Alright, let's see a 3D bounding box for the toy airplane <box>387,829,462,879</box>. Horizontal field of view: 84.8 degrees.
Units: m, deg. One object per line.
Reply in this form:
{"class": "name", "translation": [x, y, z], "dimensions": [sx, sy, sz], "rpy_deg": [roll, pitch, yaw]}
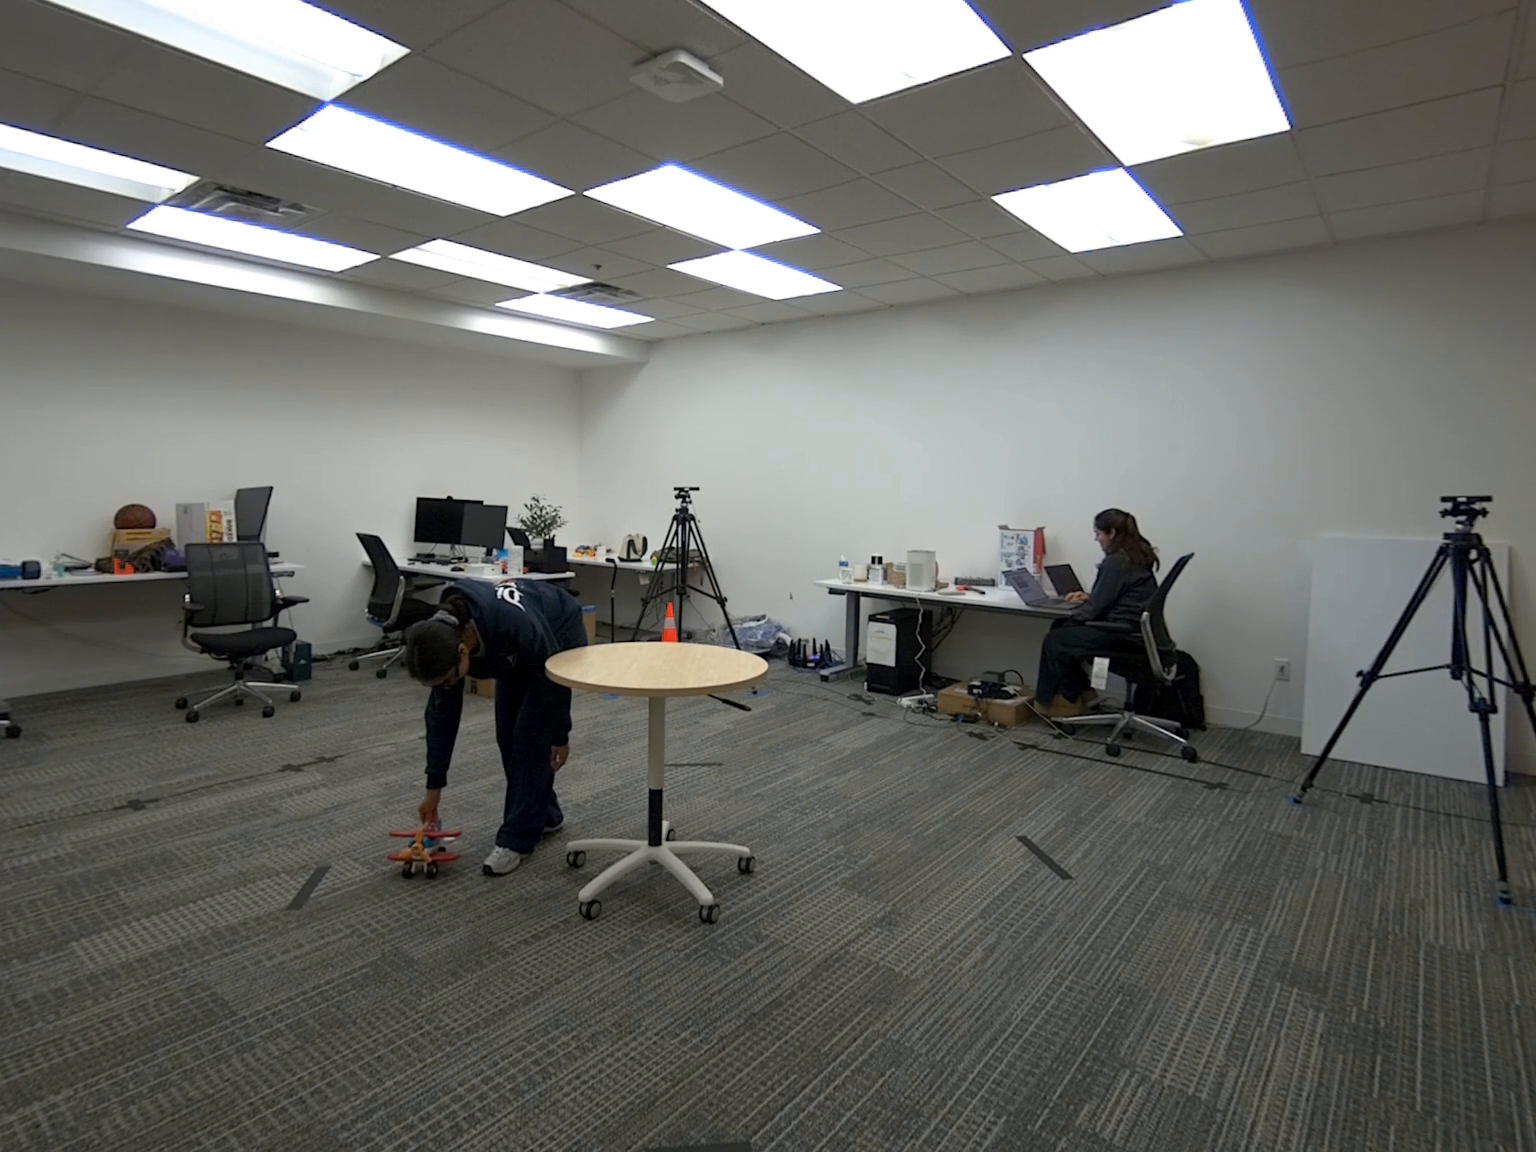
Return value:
{"class": "toy airplane", "translation": [-1.271, 0.984, 3.094], "dimensions": [0.244, 0.156, 0.267], "rpy_deg": [-2, 7, -29]}
